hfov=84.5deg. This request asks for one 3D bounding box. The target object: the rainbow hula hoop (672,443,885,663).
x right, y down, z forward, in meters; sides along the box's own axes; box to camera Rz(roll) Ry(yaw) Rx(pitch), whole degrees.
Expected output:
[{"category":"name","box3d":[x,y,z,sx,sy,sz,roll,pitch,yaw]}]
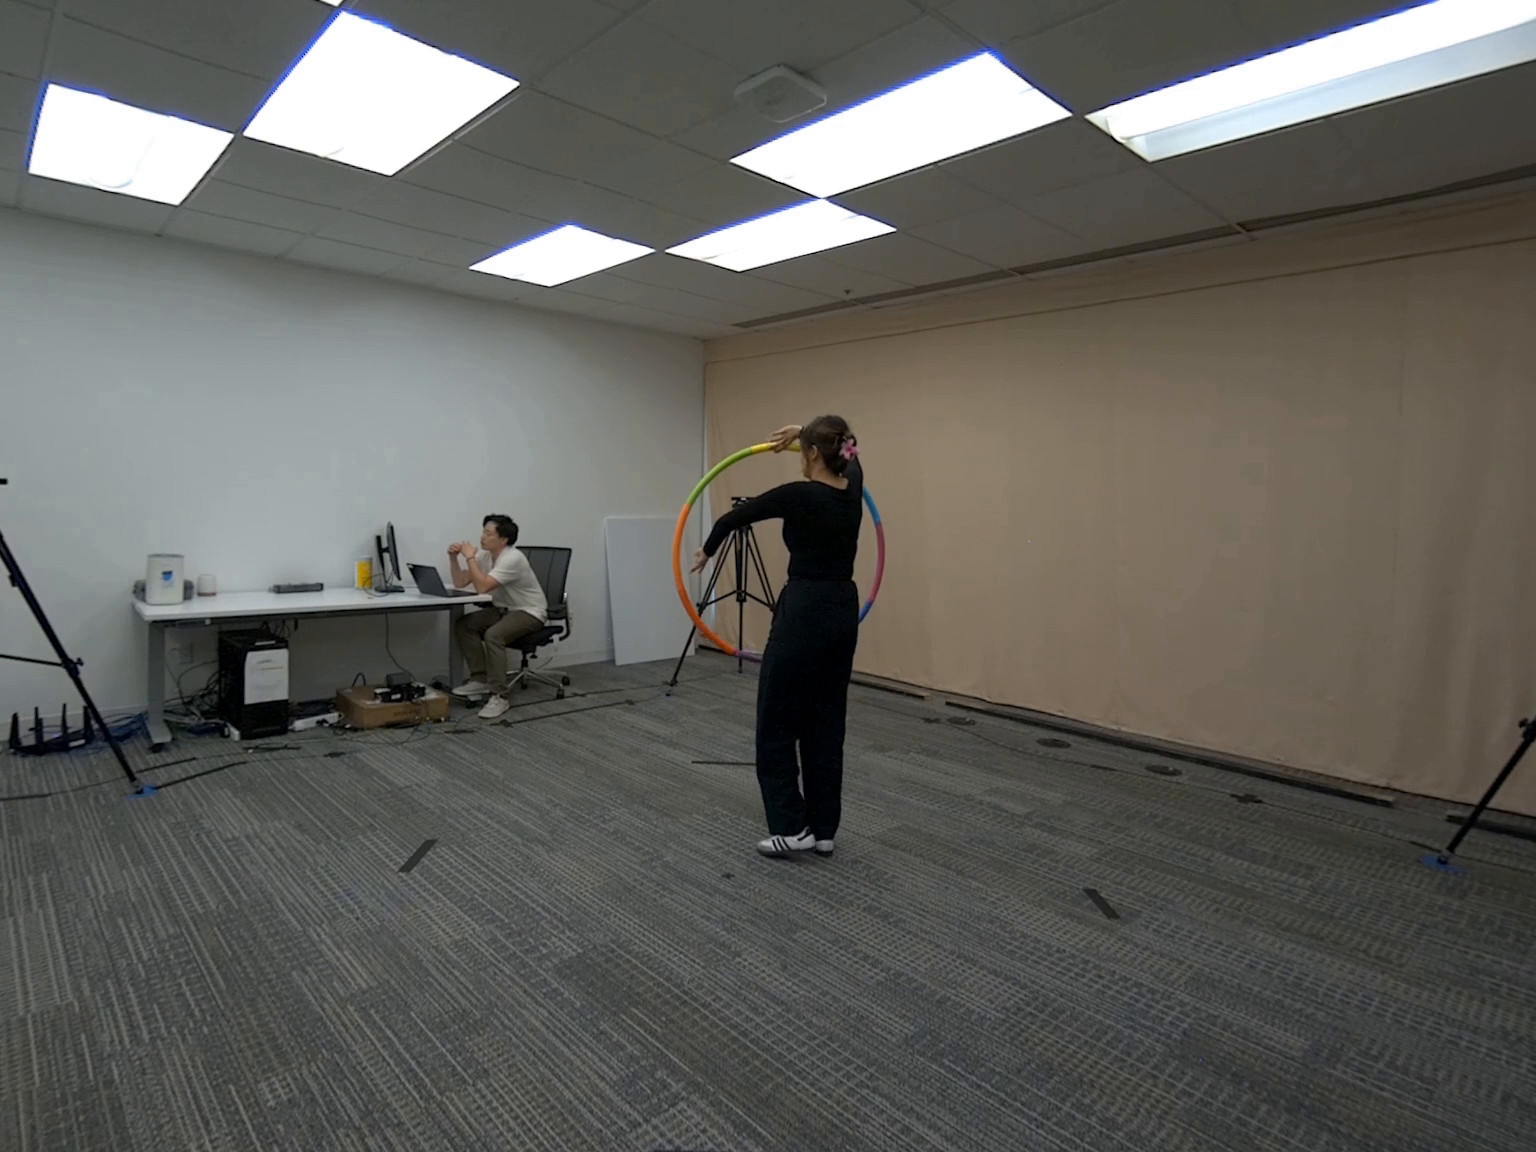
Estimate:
[{"category":"rainbow hula hoop","box3d":[0.054,-0.100,3.742,0.975,0.983,0.052,0,3,-12]}]
